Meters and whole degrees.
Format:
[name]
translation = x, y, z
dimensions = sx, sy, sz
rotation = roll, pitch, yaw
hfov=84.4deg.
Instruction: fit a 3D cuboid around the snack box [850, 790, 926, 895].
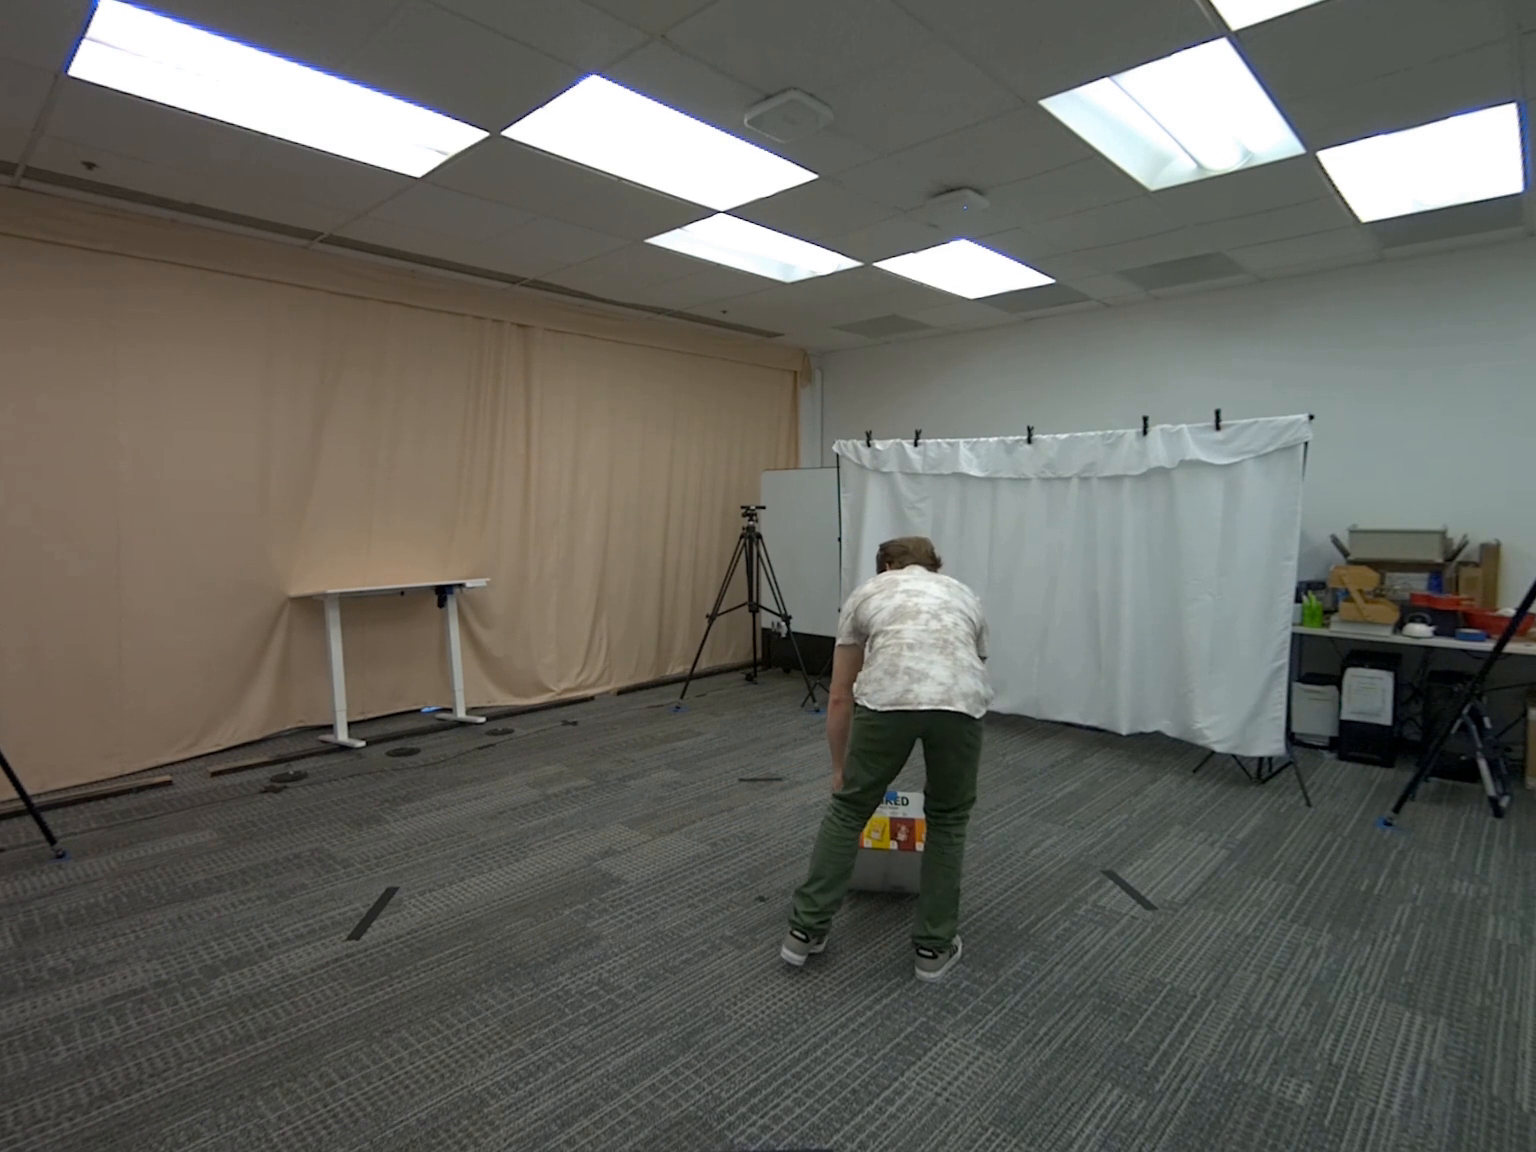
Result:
[snack box]
translation = 0.420, 0.936, 2.951
dimensions = 0.343, 0.208, 0.396
rotation = 1, -39, 8
